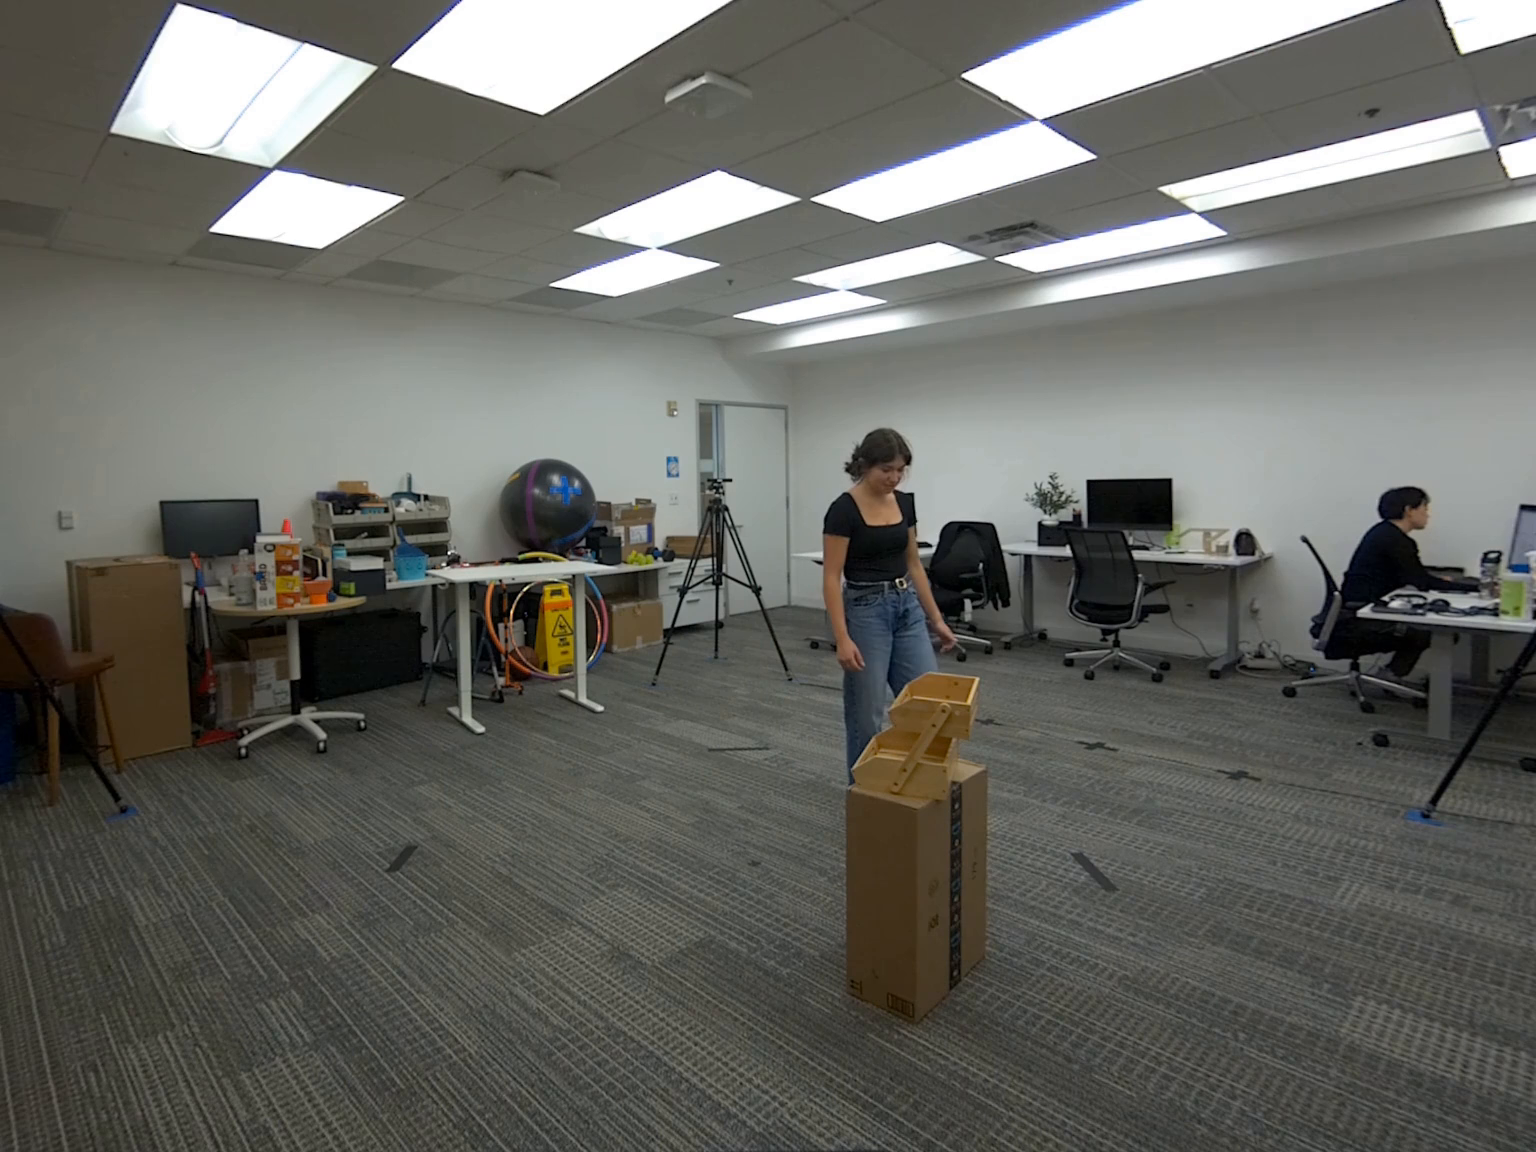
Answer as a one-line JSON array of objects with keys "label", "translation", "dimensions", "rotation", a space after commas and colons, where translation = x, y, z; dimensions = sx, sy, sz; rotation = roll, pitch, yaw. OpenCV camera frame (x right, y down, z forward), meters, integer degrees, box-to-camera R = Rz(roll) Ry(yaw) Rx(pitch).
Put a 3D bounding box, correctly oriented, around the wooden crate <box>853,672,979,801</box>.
[{"label": "wooden crate", "translation": [0.396, 0.421, 2.375], "dimensions": [0.308, 0.272, 0.320], "rotation": [4, 7, 19]}]
